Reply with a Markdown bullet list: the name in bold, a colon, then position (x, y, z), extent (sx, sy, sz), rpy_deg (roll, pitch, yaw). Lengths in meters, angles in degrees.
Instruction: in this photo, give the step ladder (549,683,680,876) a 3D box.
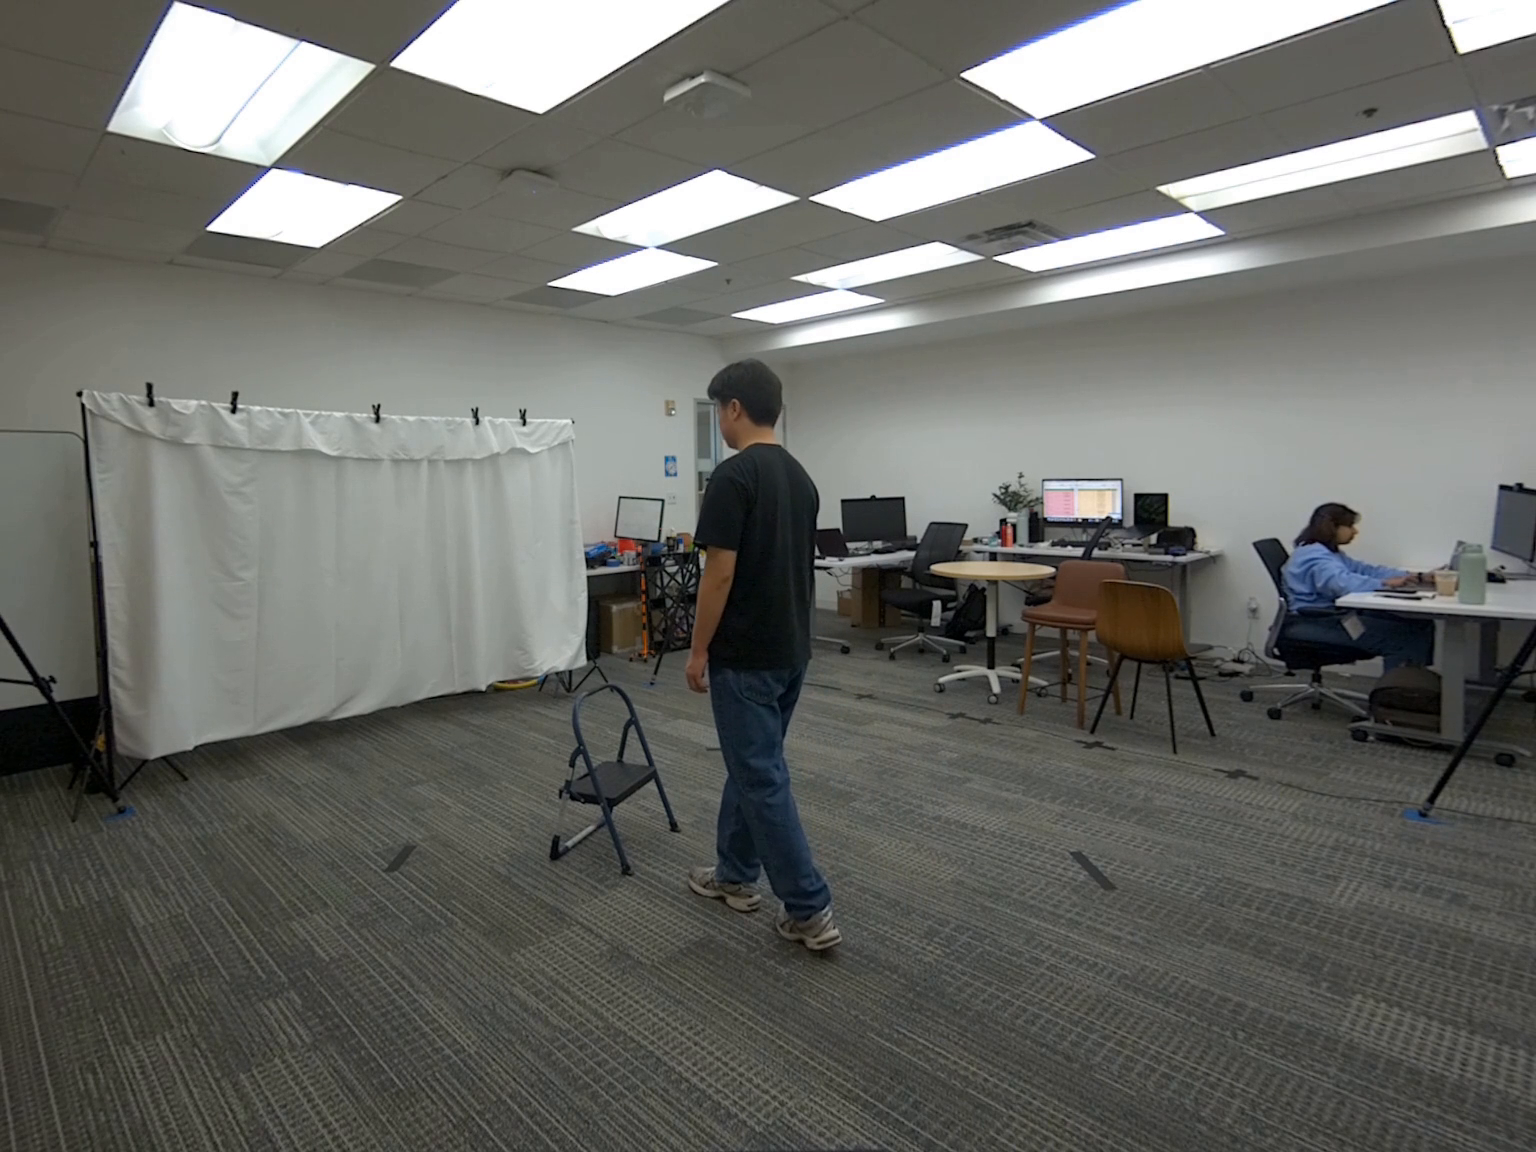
- **step ladder**: position (-0.584, 0.731, 3.263), extent (0.356, 0.604, 0.424), rpy_deg (1, 4, 20)
